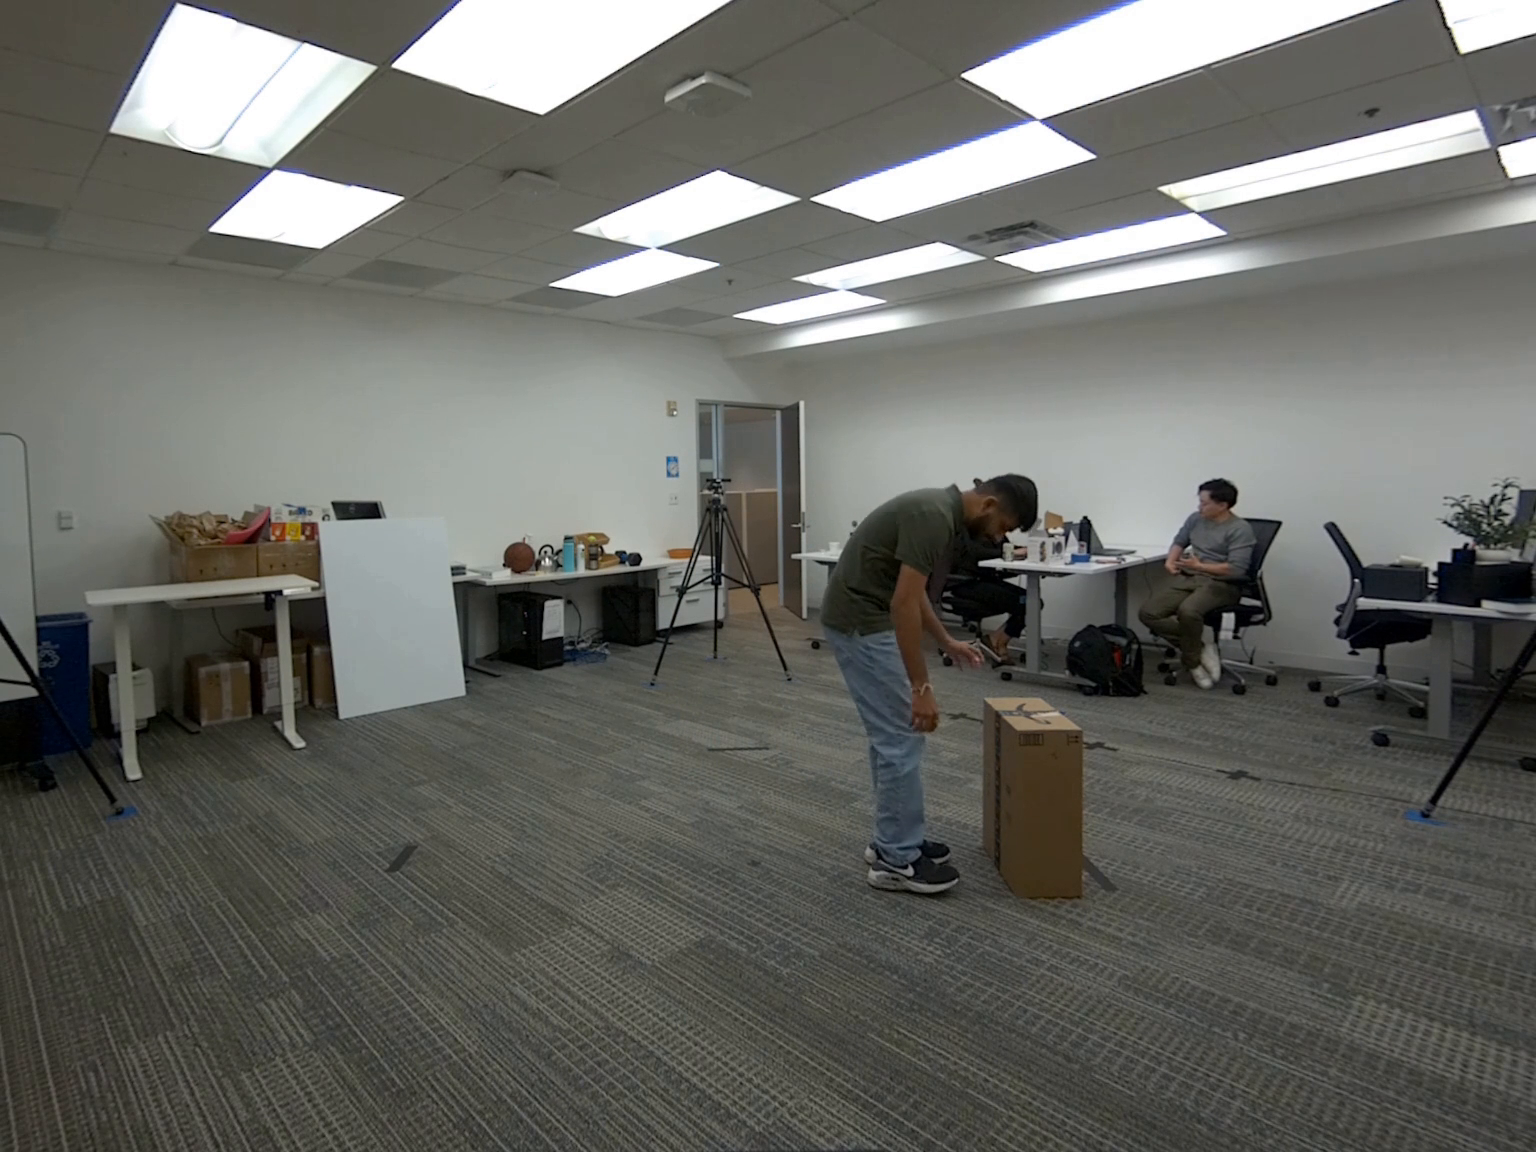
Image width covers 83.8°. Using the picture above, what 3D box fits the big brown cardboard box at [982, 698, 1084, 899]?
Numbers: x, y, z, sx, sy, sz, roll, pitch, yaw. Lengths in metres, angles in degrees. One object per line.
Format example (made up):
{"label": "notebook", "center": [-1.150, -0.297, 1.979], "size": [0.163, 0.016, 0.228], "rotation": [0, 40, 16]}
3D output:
{"label": "big brown cardboard box", "center": [0.915, 0.759, 2.994], "size": [0.233, 0.586, 0.419], "rotation": [-2, 6, -1]}
